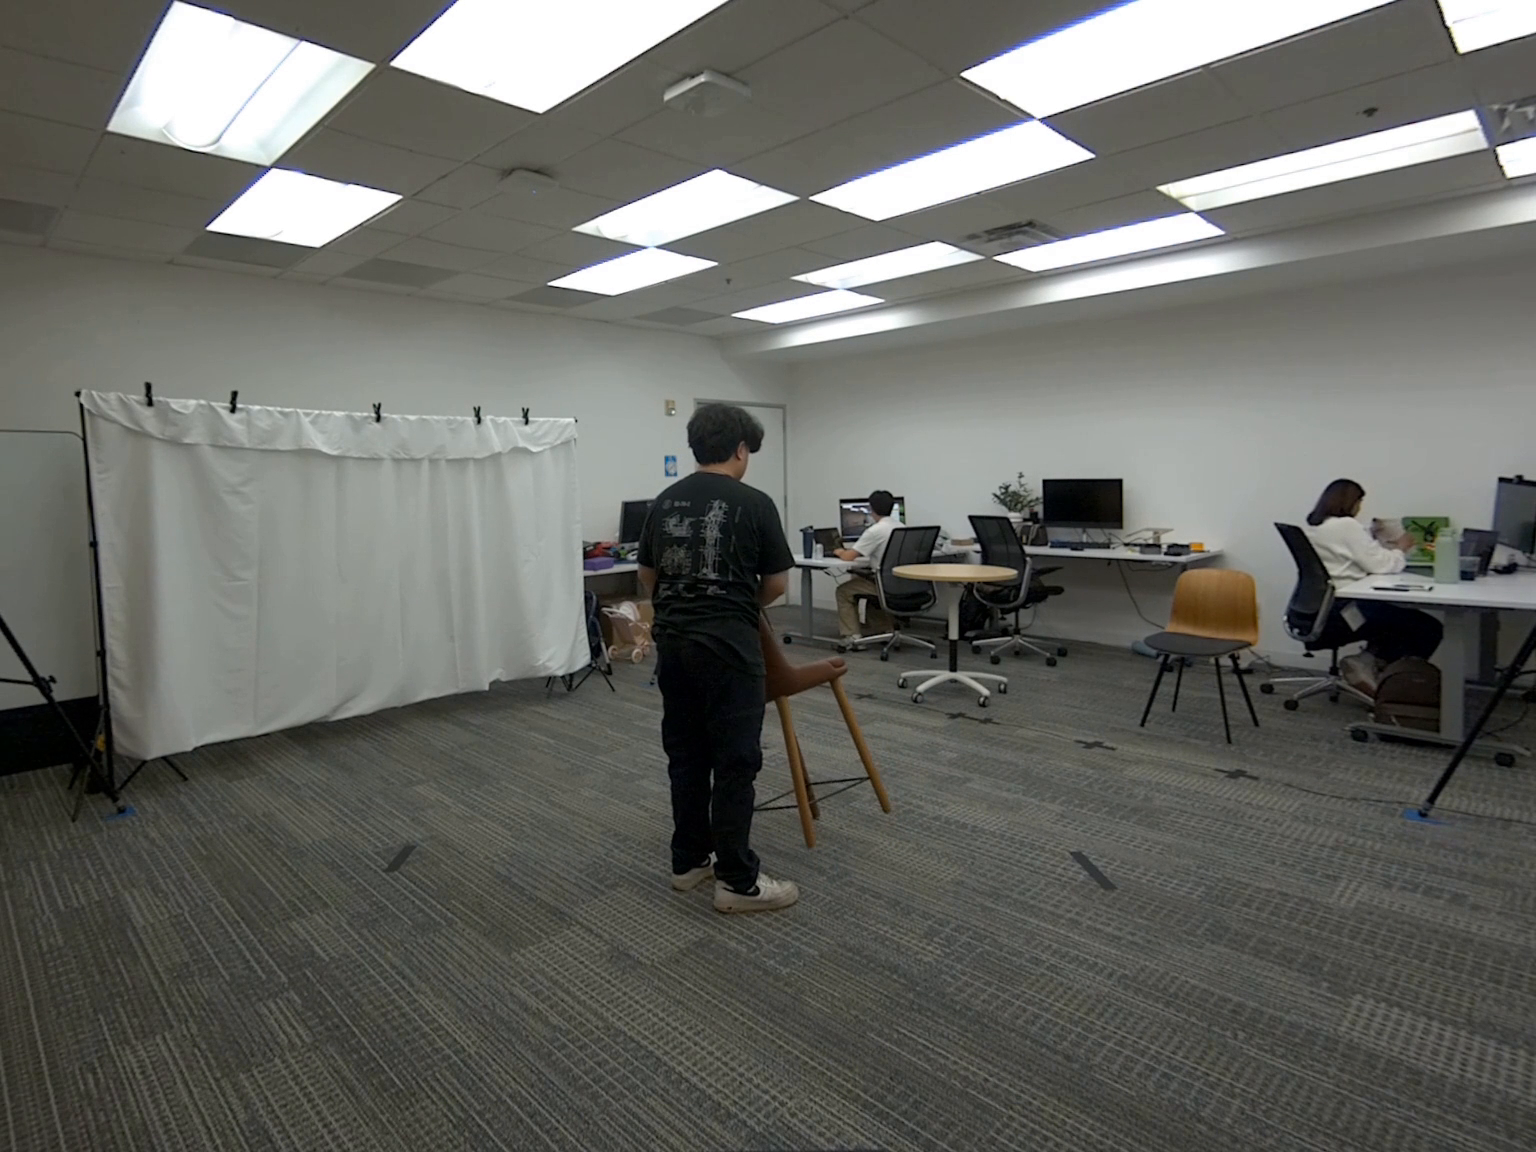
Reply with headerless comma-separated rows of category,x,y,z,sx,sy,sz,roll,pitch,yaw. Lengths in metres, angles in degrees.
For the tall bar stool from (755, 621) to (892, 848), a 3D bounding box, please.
tall bar stool,0.065,0.548,3.294,0.456,0.898,0.464,-9,-10,-44
